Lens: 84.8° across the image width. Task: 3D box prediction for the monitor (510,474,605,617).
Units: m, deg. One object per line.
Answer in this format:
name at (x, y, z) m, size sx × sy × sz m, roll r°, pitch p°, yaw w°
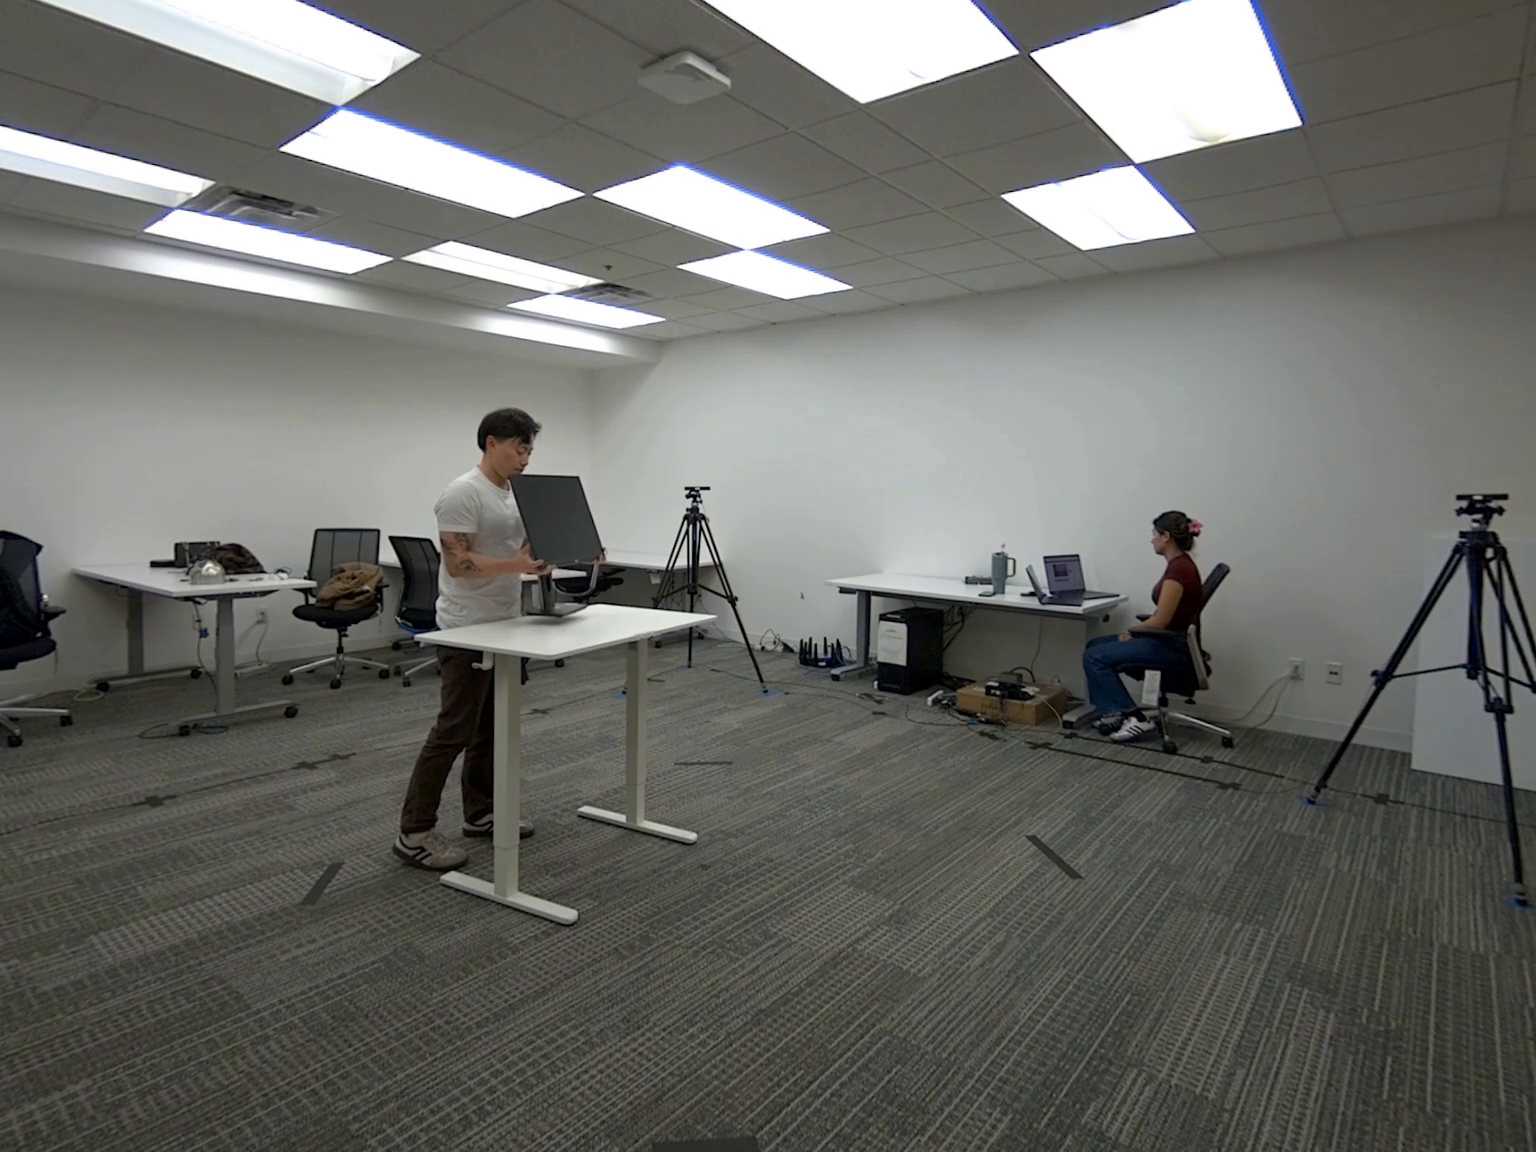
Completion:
monitor at (-0.826, -0.120, 3.205) m, size 0.190 × 0.521 × 0.532 m, roll -2°, pitch 3°, yaw 13°
